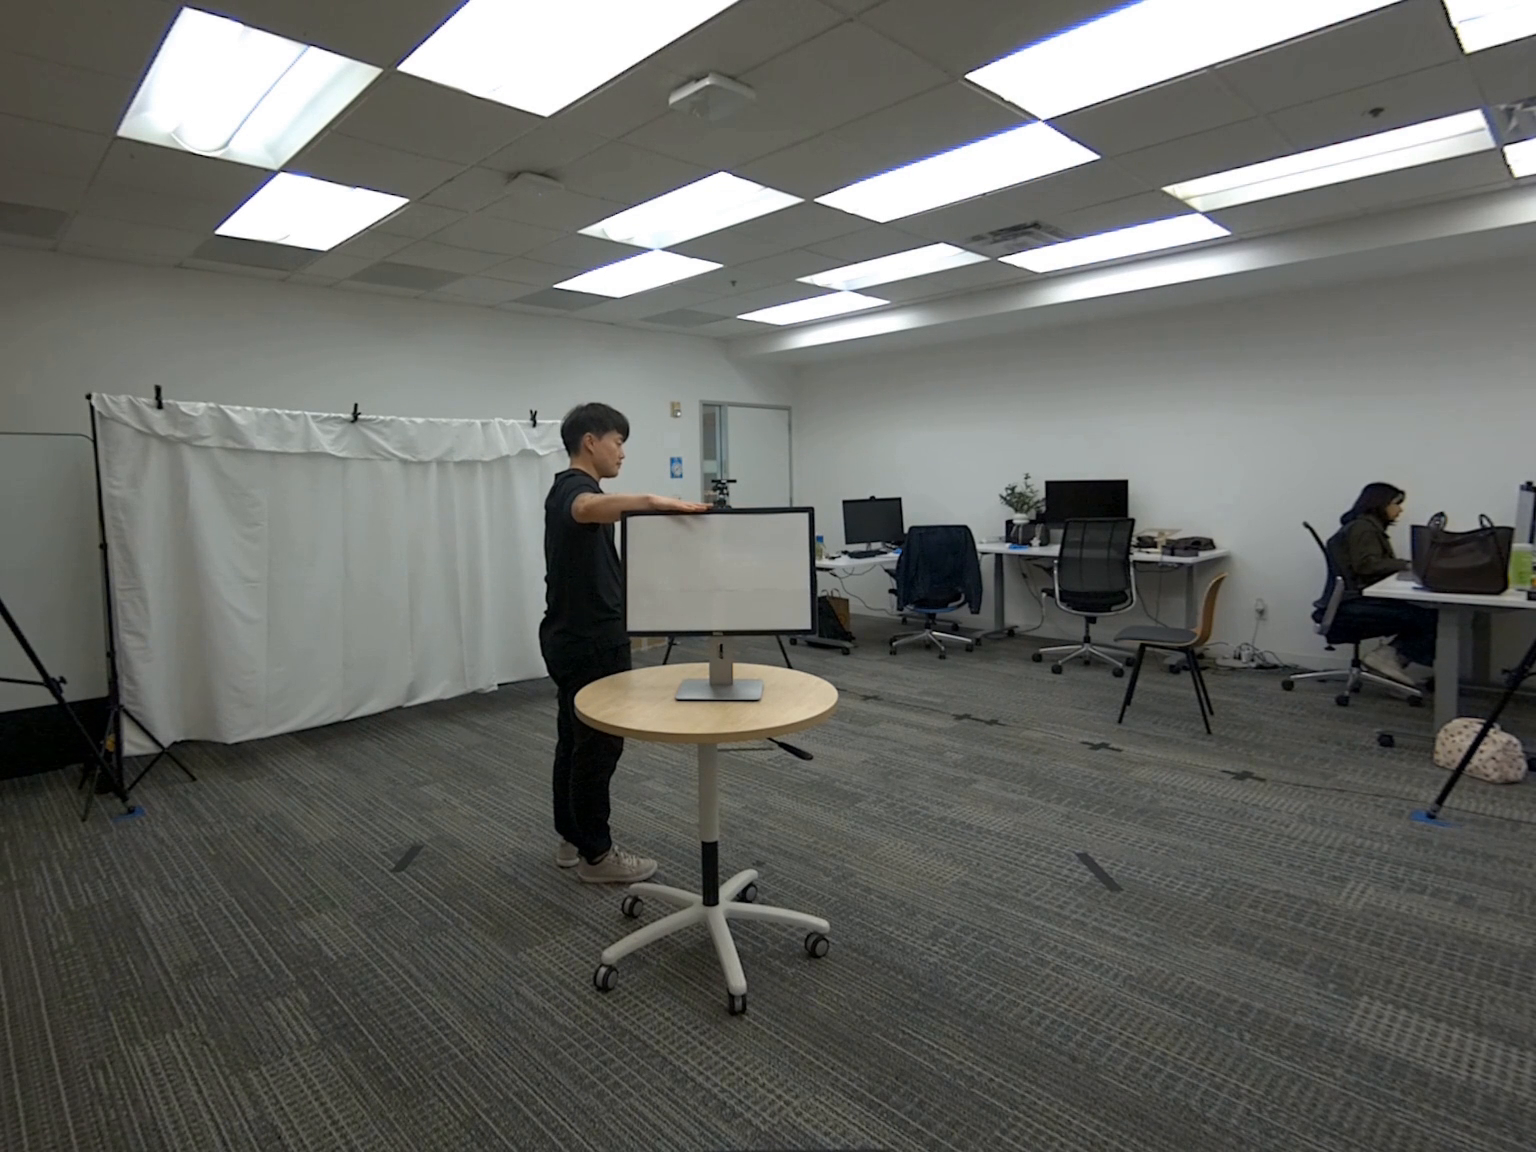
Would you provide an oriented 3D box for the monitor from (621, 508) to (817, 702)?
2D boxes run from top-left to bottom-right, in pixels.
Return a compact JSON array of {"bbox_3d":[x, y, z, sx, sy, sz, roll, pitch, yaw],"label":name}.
[{"bbox_3d":[-0.136,0.080,2.490,0.540,0.519,0.188,0,6,2],"label":"monitor"}]
